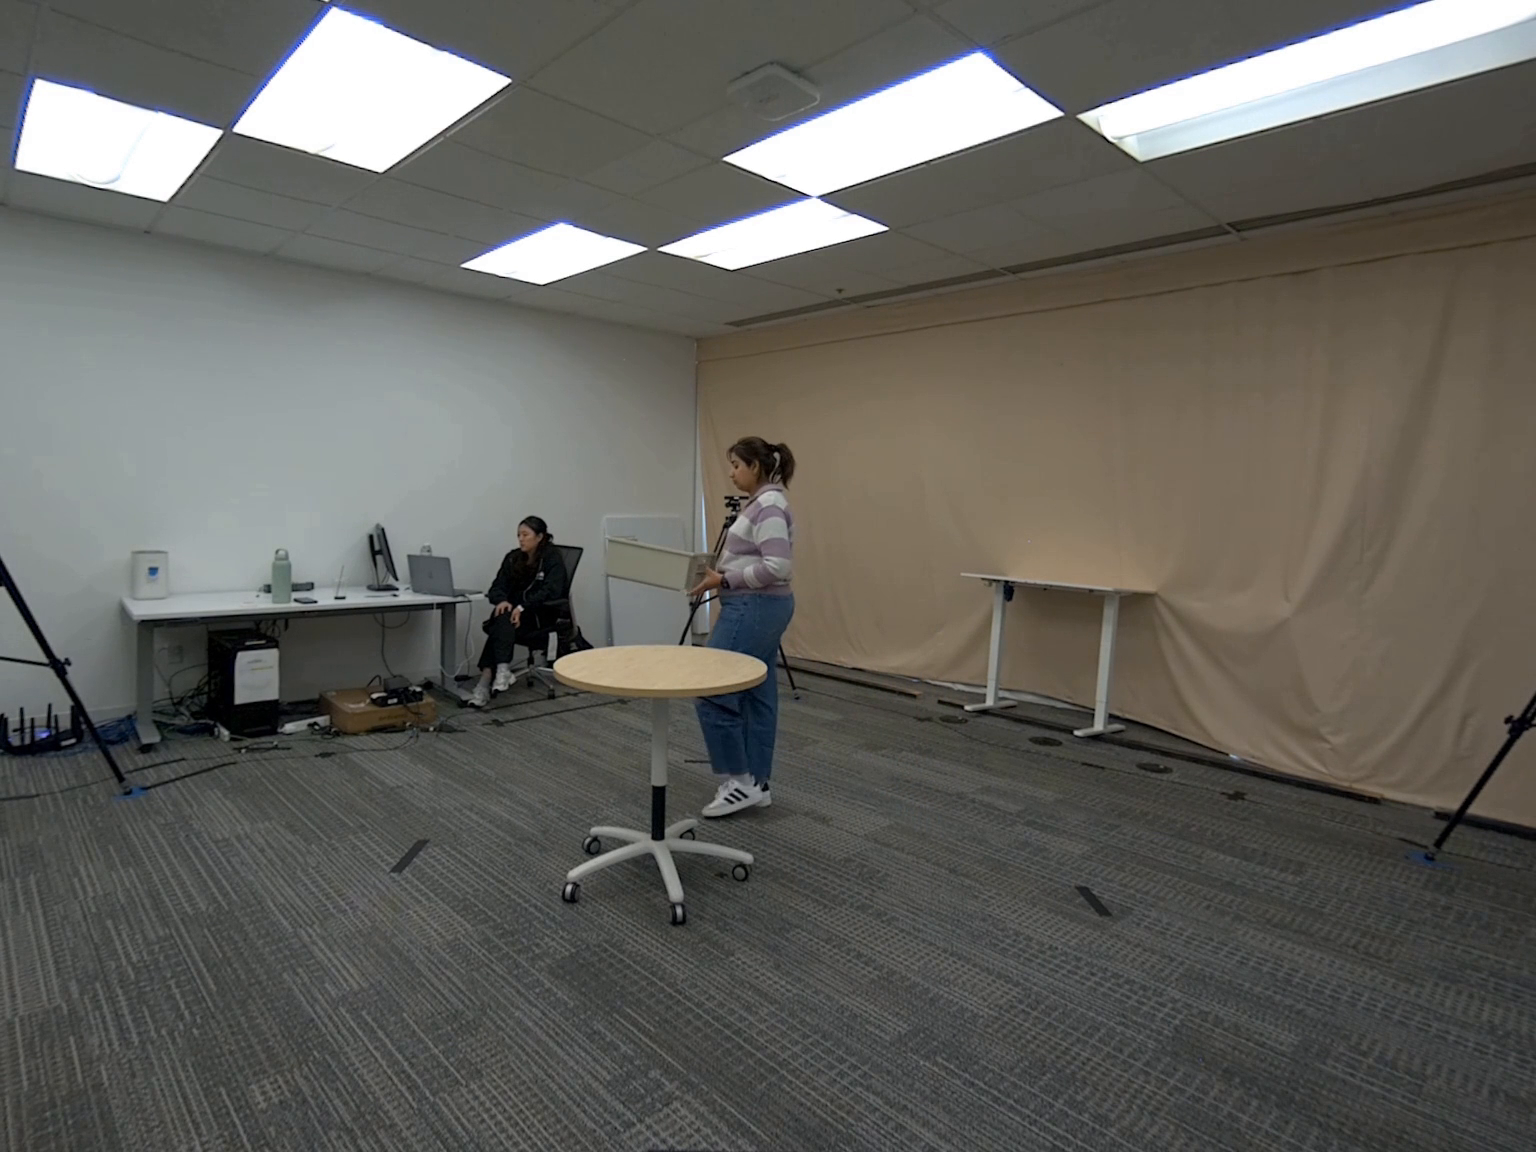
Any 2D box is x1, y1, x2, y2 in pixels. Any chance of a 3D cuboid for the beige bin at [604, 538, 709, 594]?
[{"bbox_3d":[-0.490,-0.055,3.827,0.428,0.188,0.373,11,7,15],"label":"beige bin"}]
